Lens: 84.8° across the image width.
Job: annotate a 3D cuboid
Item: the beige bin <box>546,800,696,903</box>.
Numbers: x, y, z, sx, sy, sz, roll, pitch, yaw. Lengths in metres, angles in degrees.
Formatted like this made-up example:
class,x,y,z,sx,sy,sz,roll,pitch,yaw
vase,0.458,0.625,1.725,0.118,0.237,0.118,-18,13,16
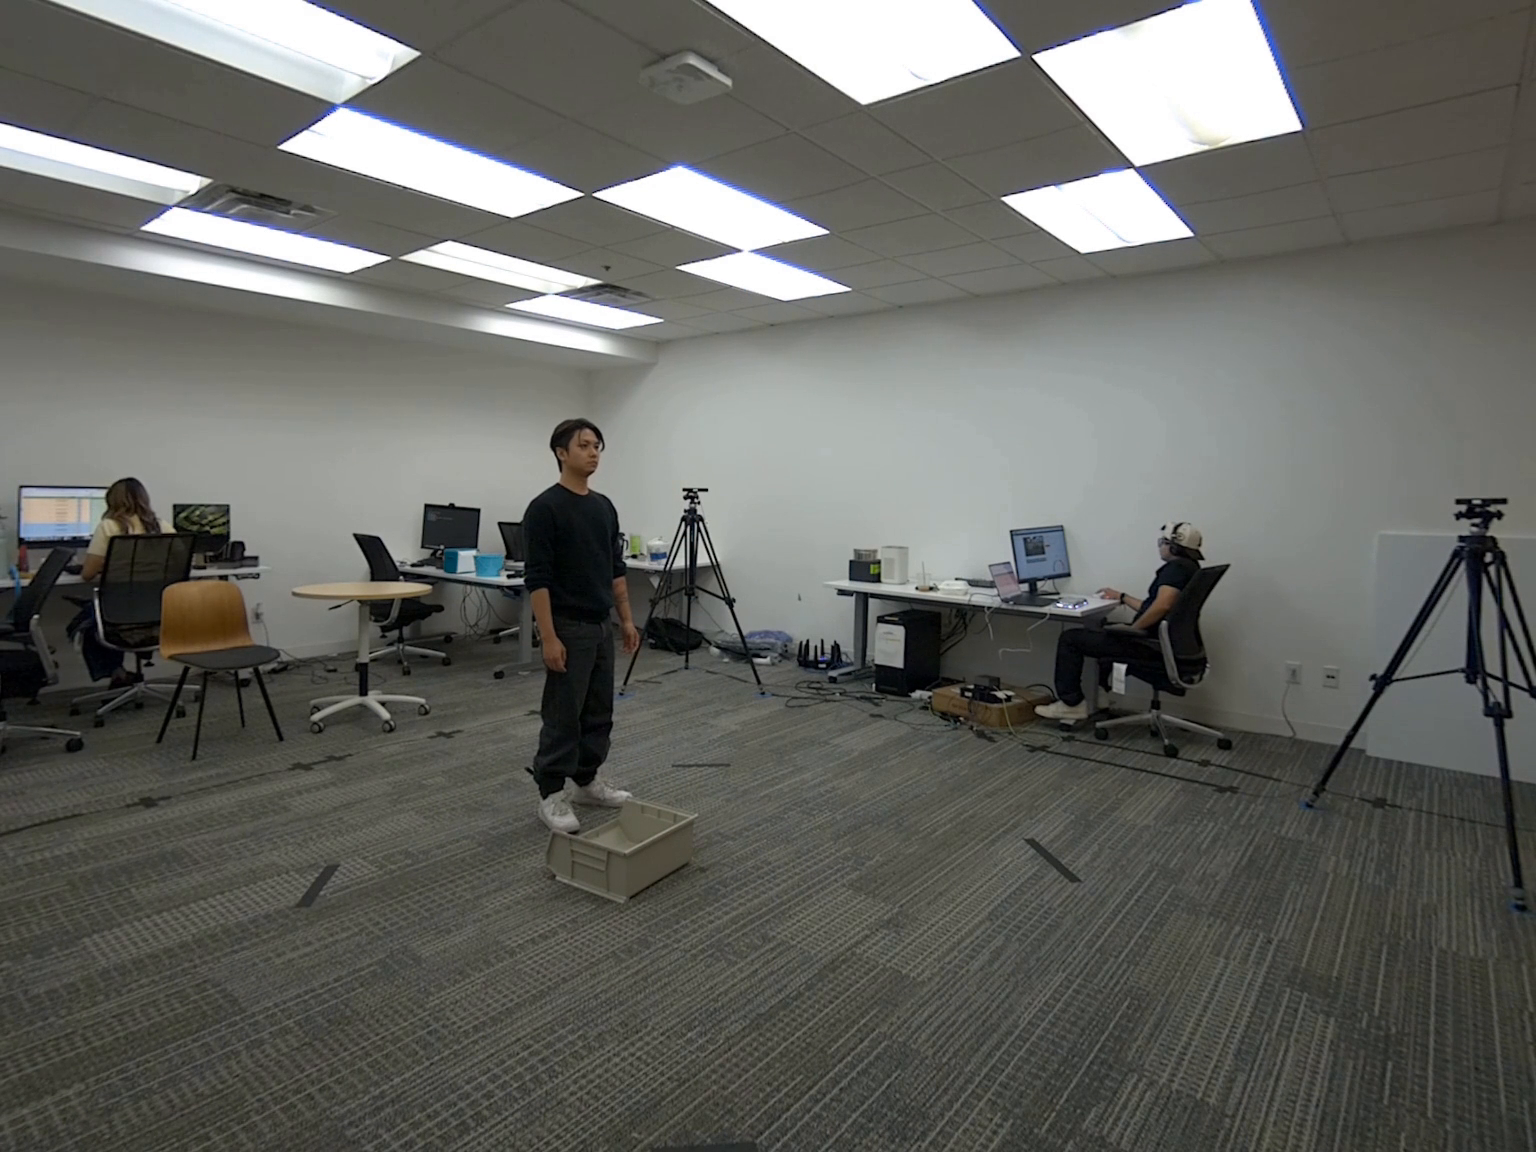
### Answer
class,x,y,z,sx,sy,sz,roll,pitch,yaw
beige bin,-0.536,0.977,3.093,0.389,0.188,0.411,5,6,31
